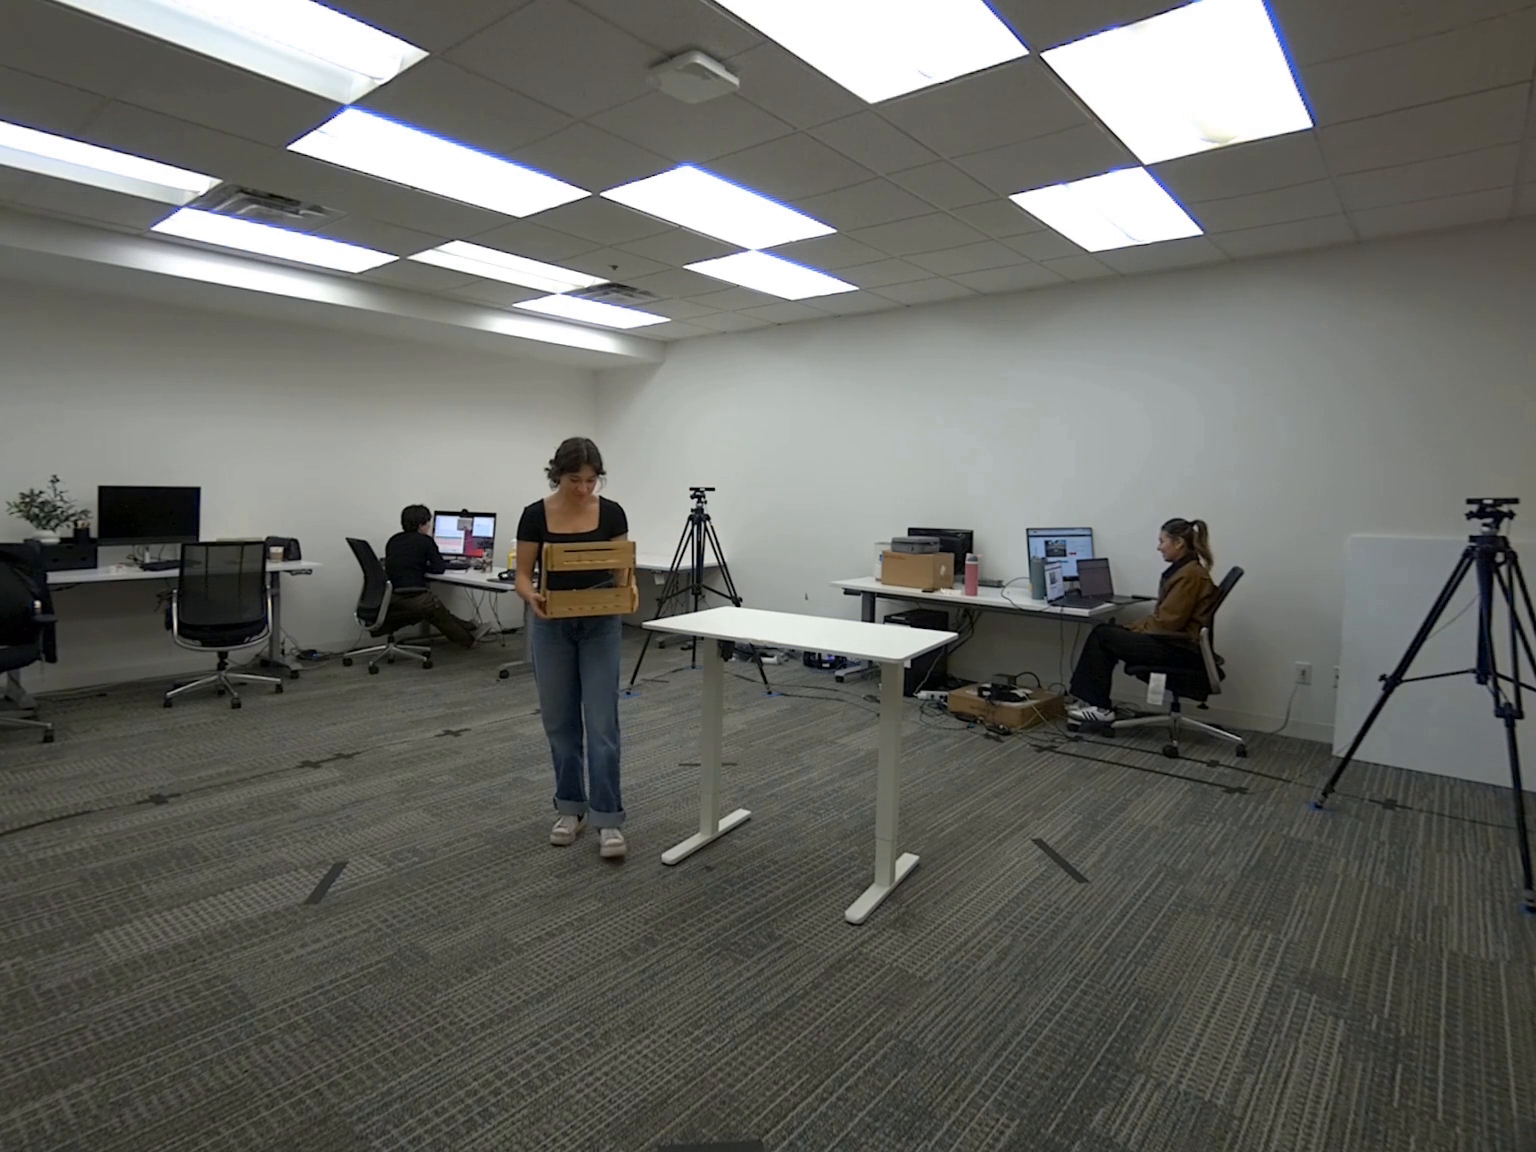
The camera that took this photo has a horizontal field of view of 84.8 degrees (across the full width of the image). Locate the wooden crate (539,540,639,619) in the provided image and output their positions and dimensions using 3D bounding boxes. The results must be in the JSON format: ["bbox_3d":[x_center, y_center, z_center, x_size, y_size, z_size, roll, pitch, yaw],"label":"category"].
[{"bbox_3d":[-0.679,-0.005,3.098,0.318,0.272,0.309,-3,5,-22],"label":"wooden crate"}]
